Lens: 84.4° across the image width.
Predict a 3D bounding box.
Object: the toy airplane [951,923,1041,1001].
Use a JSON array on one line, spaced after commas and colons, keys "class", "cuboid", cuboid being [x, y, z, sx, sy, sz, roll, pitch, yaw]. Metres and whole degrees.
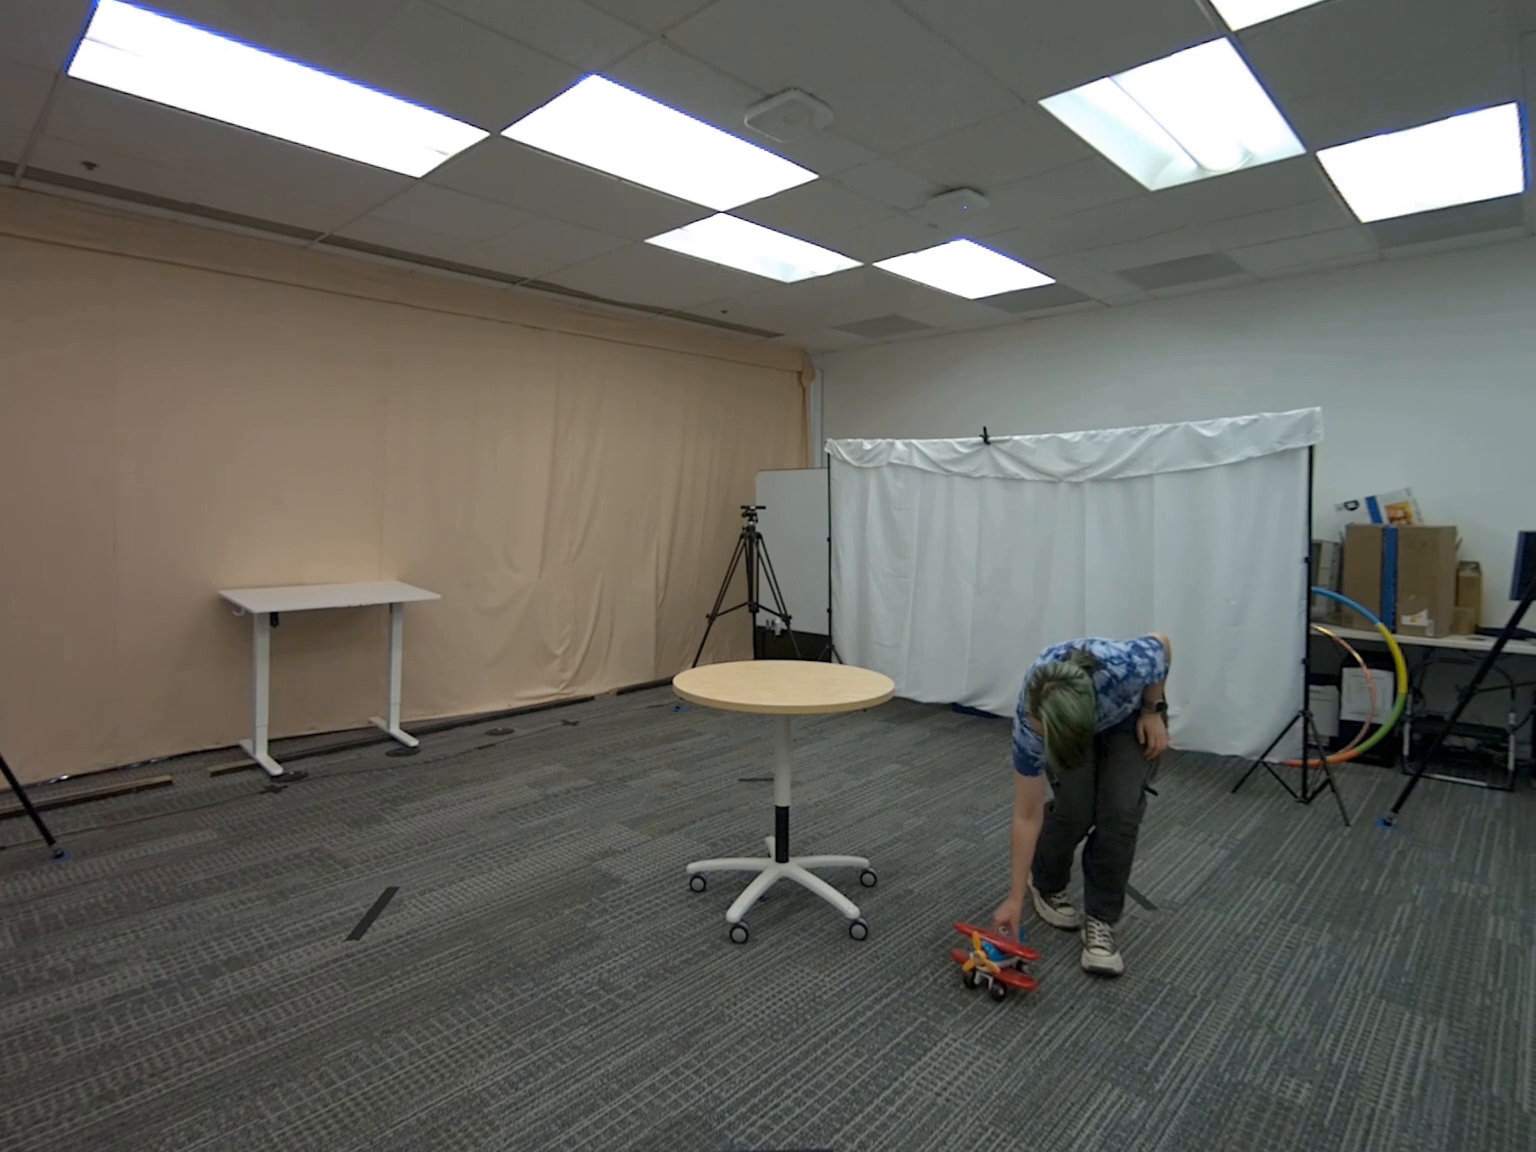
[{"class": "toy airplane", "cuboid": [0.675, 1.113, 2.463, 0.256, 0.156, 0.255, 2, 6, 16]}]
